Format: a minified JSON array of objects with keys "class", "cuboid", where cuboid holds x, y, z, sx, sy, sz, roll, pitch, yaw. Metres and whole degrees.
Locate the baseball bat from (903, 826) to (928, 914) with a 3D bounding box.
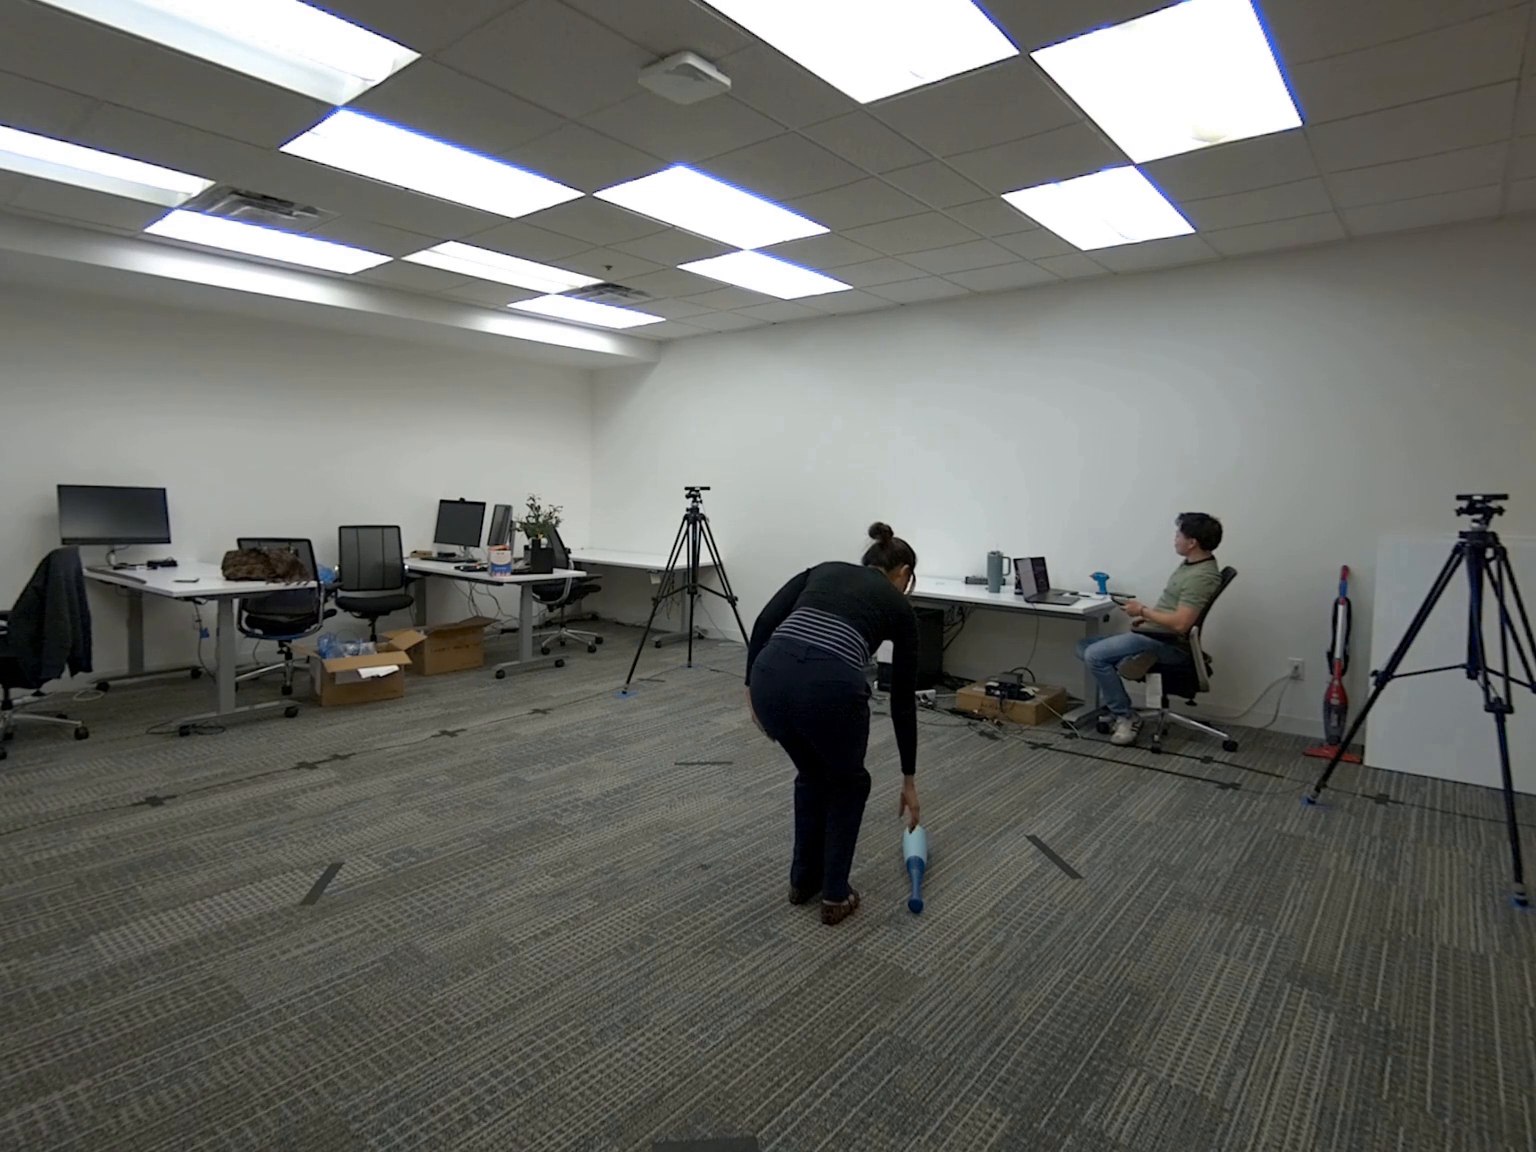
[{"class":"baseball bat","cuboid":[0.521,1.047,3.060,0.090,0.088,0.540,1,9,9]}]
